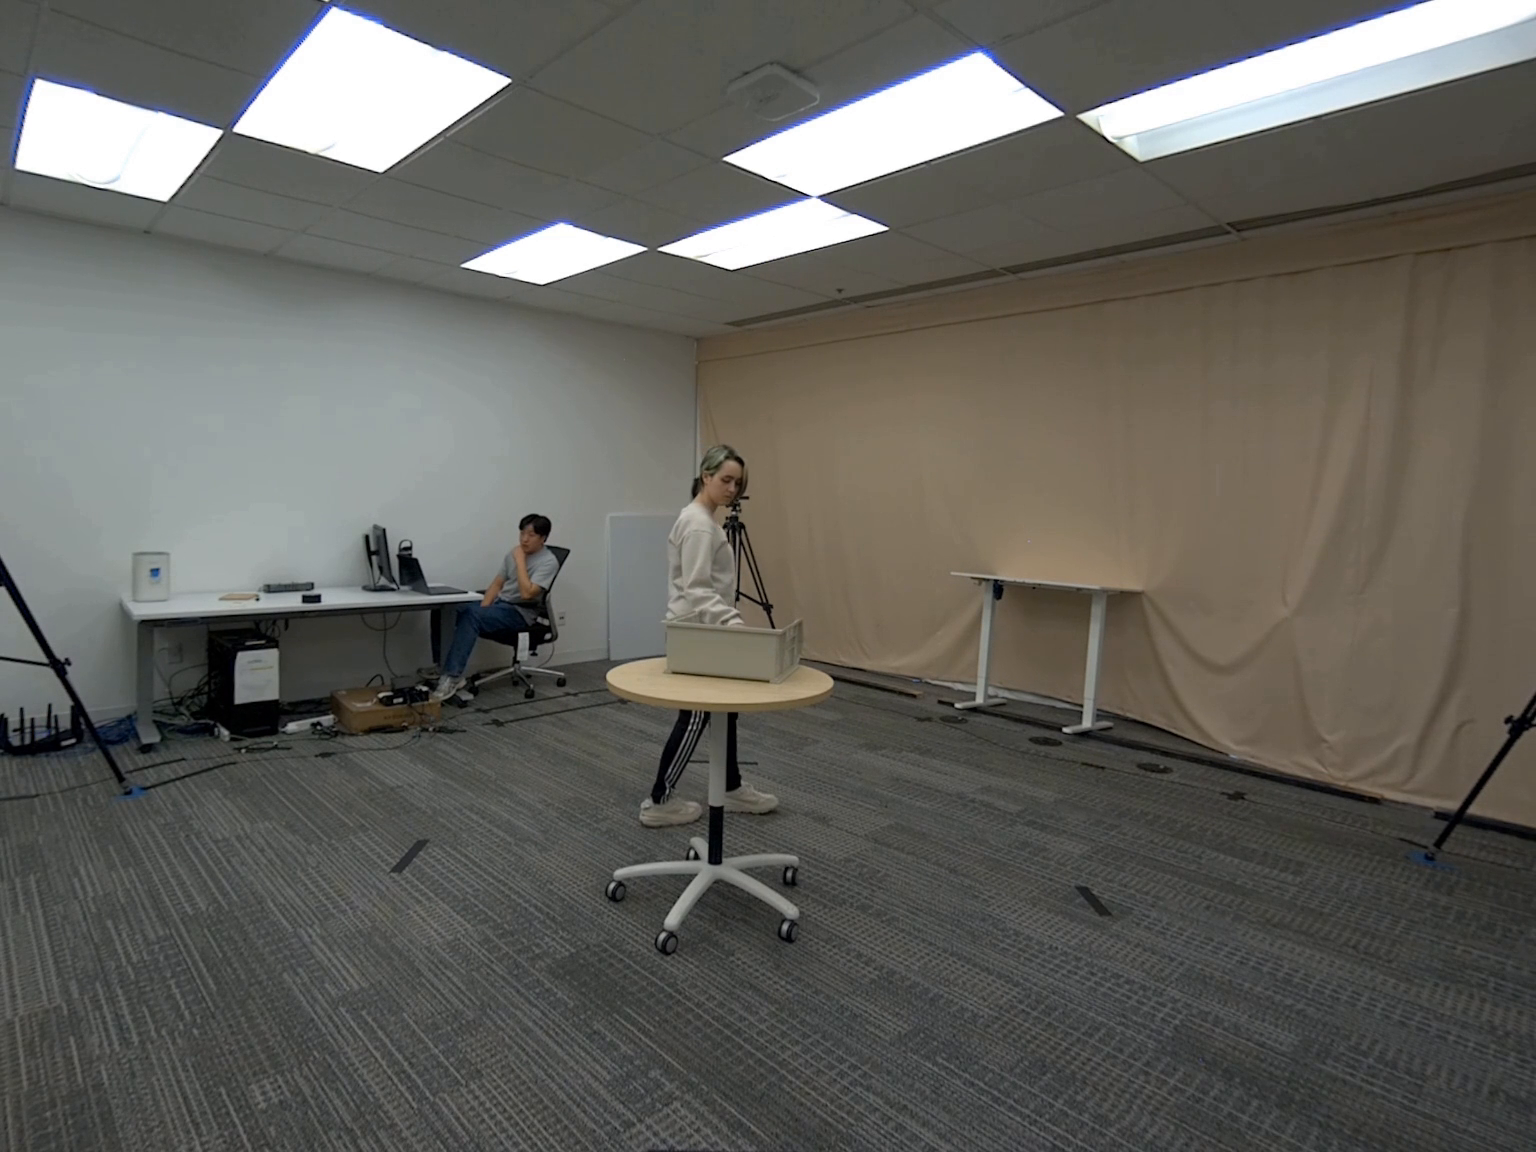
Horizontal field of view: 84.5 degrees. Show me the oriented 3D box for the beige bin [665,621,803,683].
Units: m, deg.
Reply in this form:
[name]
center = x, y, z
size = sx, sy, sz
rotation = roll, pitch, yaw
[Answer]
[beige bin]
center = -0.124, 0.239, 2.979
size = 0.428, 0.188, 0.373
rotation = 4, 7, 17
